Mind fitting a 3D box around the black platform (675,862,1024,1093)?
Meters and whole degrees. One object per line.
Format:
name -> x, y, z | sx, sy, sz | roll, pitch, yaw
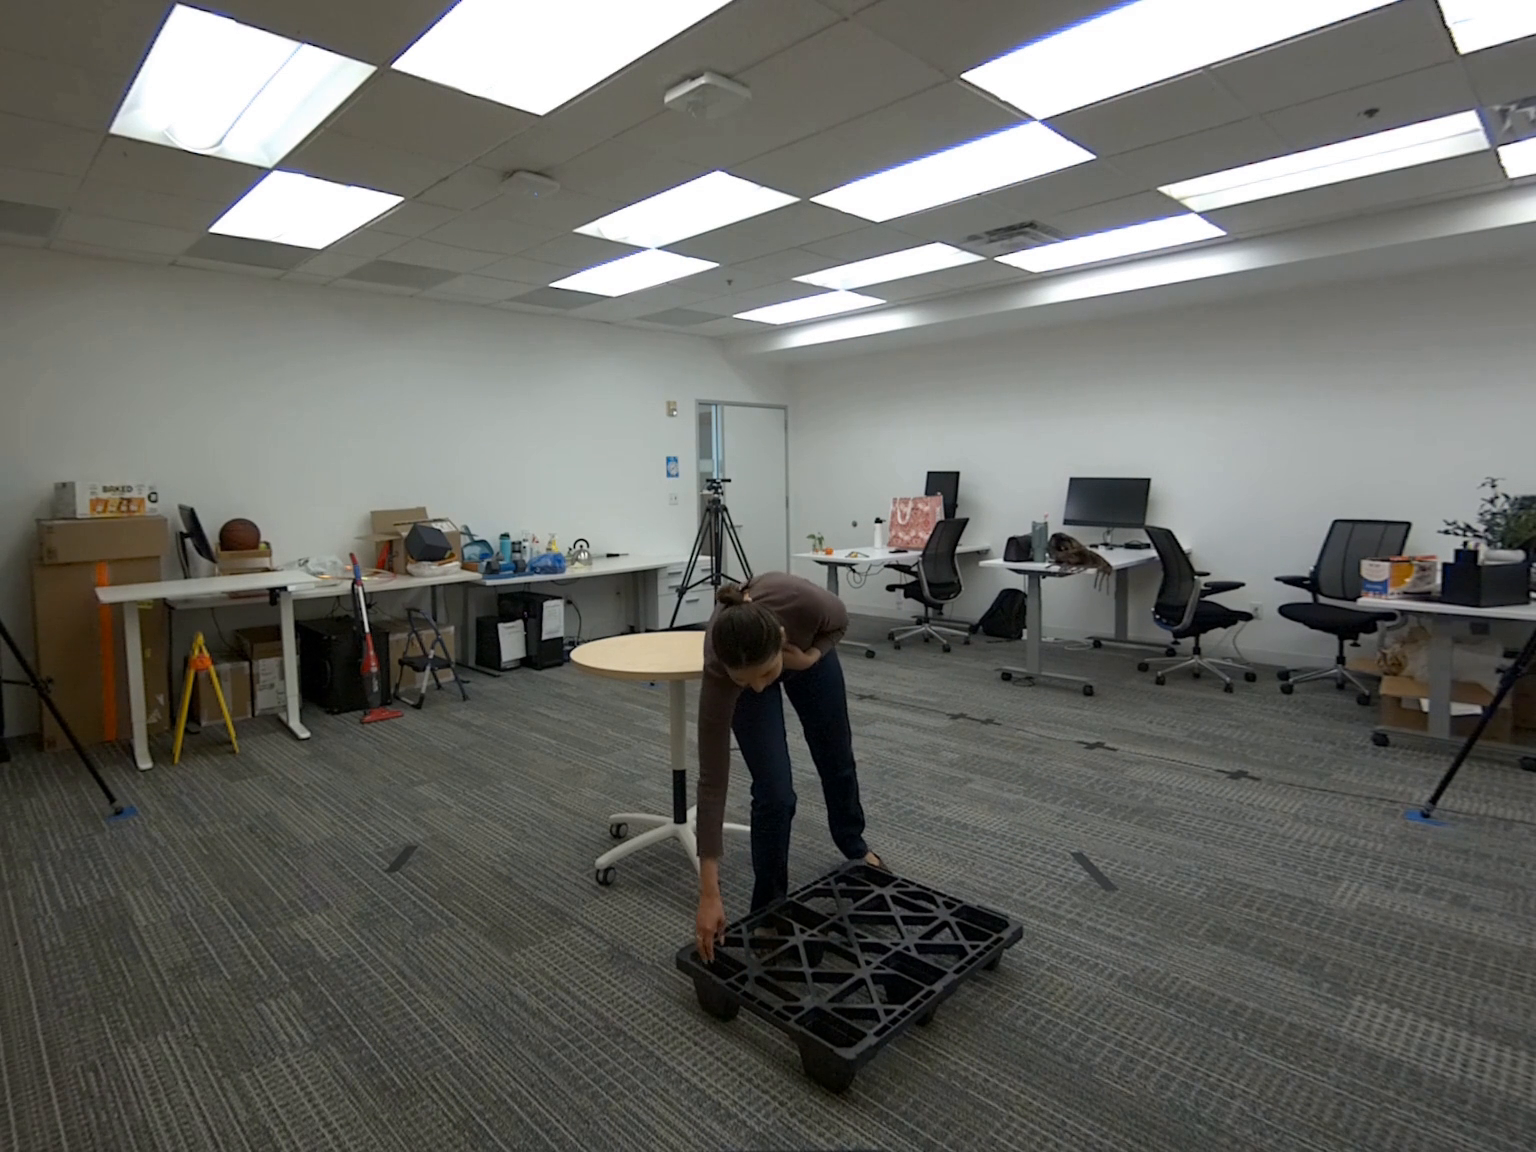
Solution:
black platform -> 0.238, 1.065, 2.343 | 0.624, 0.142, 0.785 | 5, 9, 44
